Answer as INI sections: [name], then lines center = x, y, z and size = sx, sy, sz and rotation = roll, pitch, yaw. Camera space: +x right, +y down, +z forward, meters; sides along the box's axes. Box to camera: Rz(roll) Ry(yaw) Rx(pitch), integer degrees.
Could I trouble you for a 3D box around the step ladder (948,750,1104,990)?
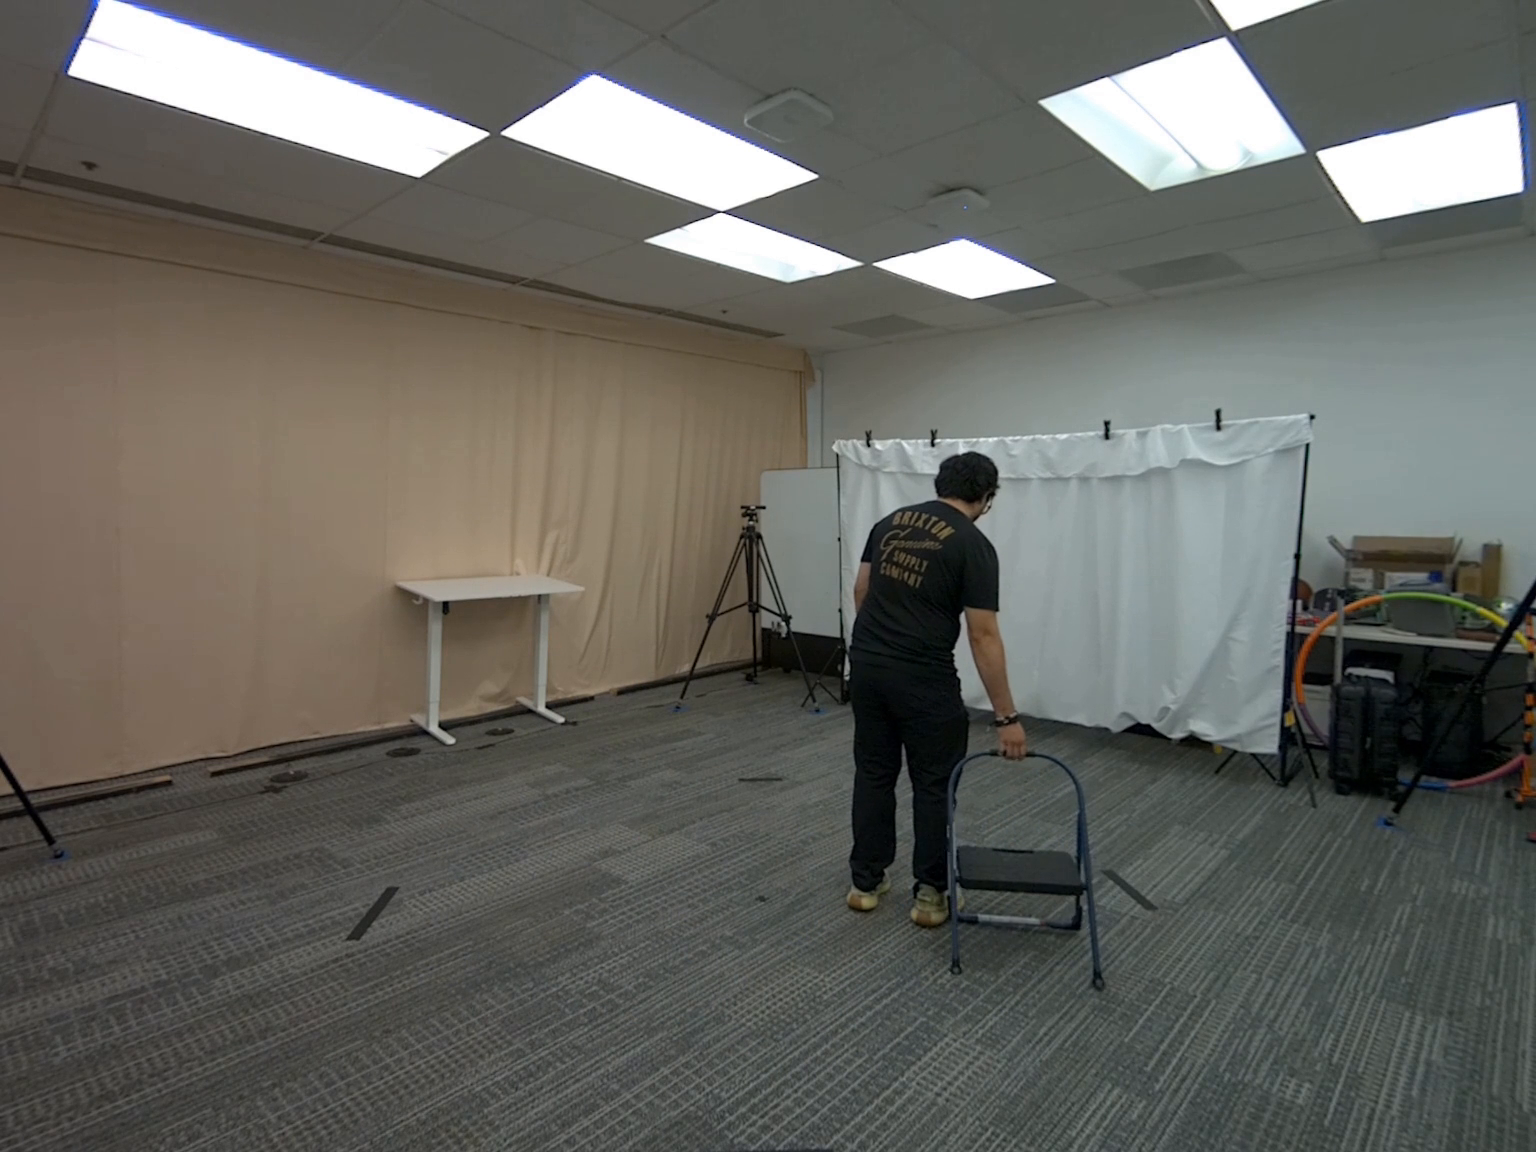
[step ladder]
center = 0.782, 0.865, 2.604
size = 0.436, 0.605, 0.345
rotation = -1, 4, 12
